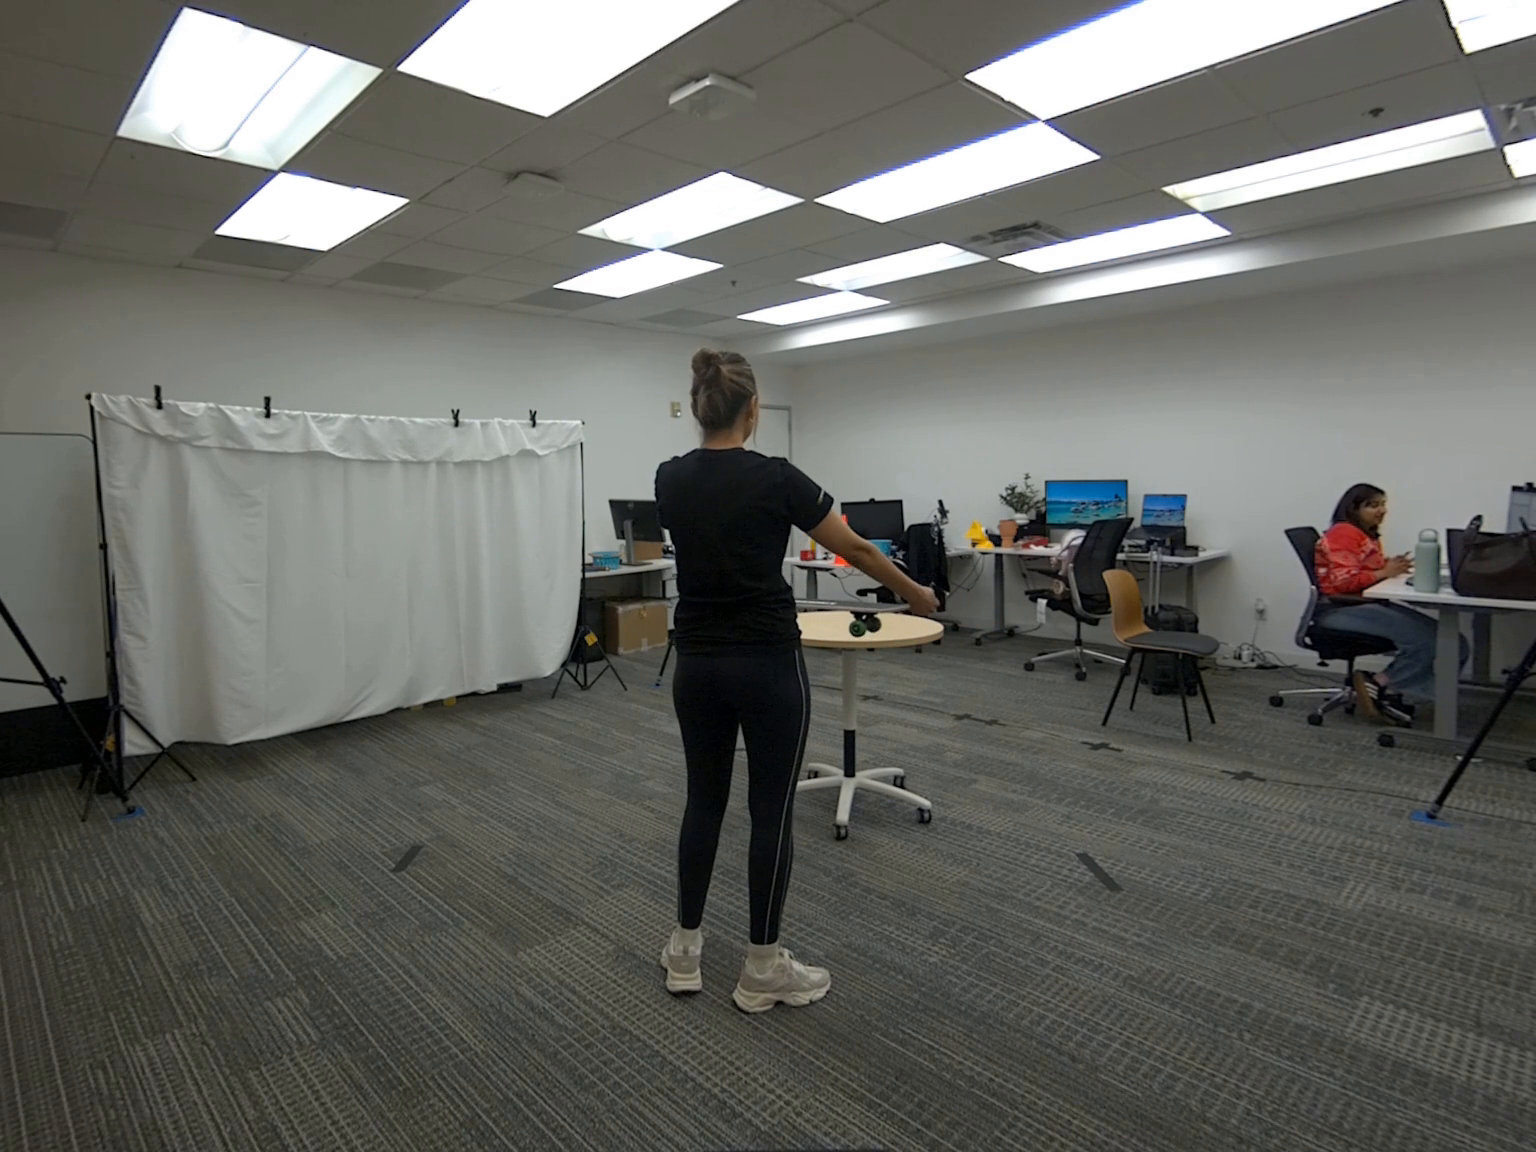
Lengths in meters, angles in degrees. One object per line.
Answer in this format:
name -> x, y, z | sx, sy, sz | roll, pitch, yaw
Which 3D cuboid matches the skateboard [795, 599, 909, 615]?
skateboard -> 0.121, 0.117, 2.695 | 0.805, 0.110, 0.189 | 2, 2, 28
